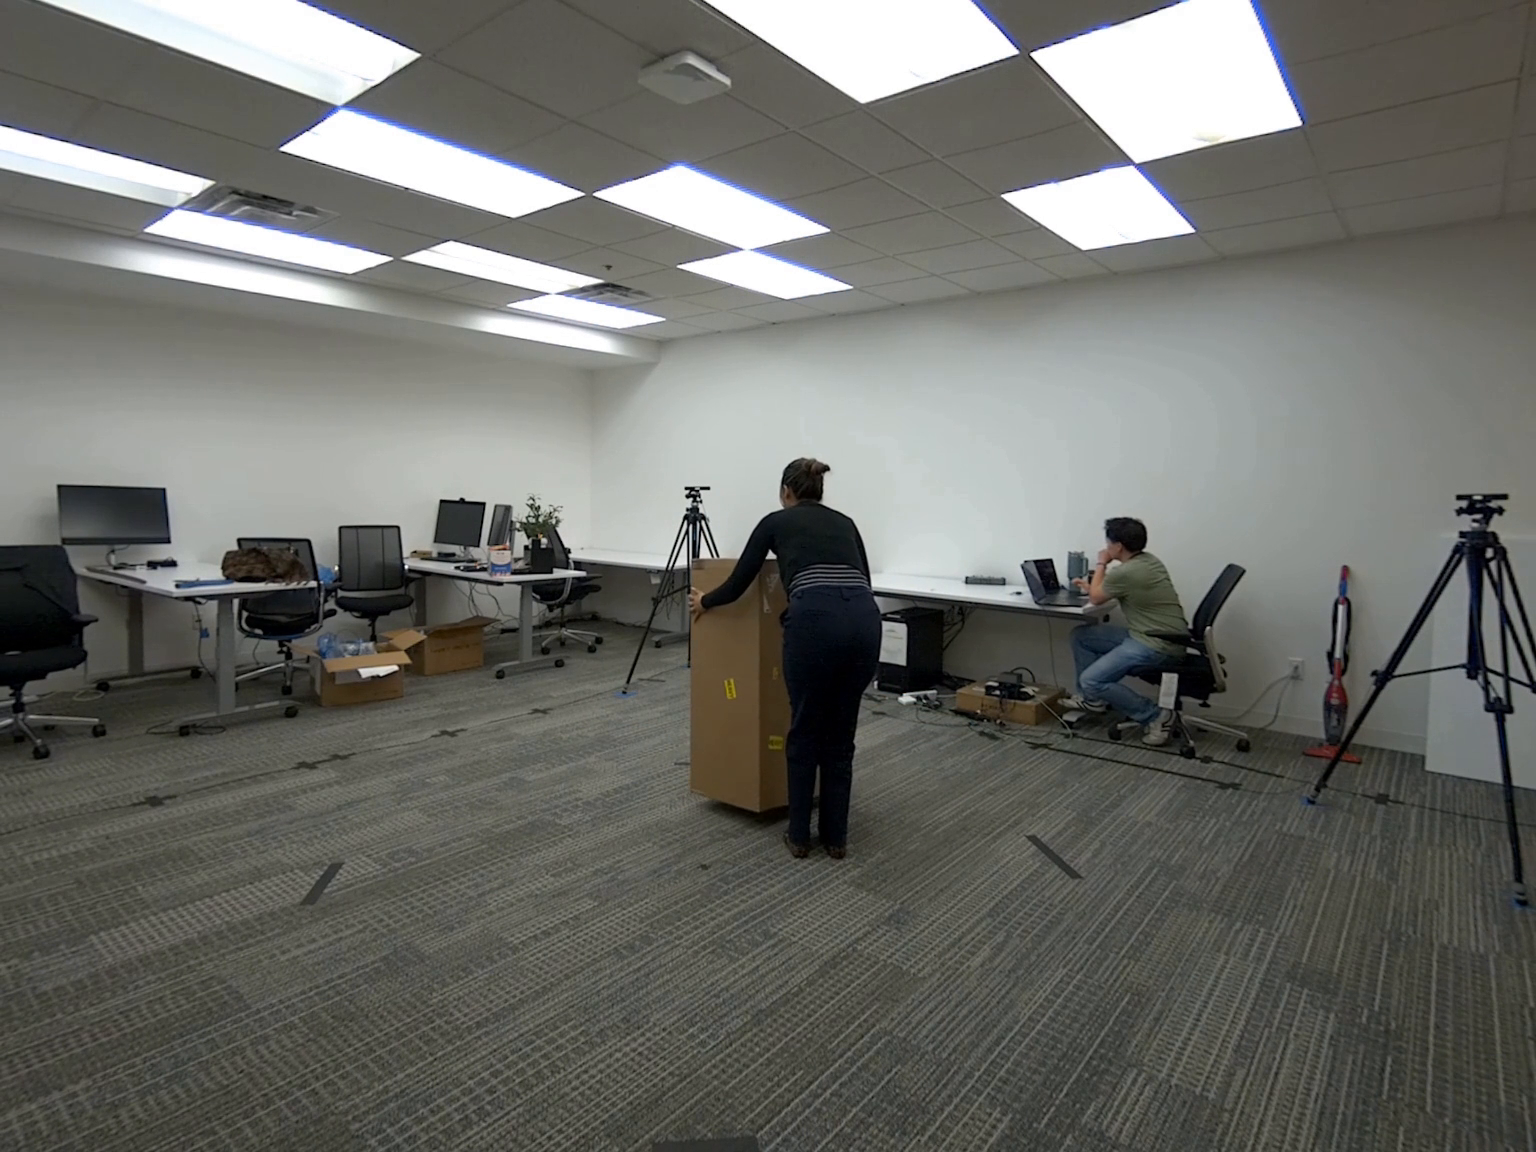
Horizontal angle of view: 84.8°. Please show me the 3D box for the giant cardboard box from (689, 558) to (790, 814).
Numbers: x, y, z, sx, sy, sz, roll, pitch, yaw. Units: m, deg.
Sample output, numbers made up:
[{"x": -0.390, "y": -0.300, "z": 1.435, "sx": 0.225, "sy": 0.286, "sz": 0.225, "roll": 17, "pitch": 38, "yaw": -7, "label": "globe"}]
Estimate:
[{"x": -0.008, "y": 0.433, "z": 3.785, "sx": 0.439, "sy": 1.027, "sz": 0.559, "roll": -2, "pitch": -1, "yaw": 44, "label": "giant cardboard box"}]
